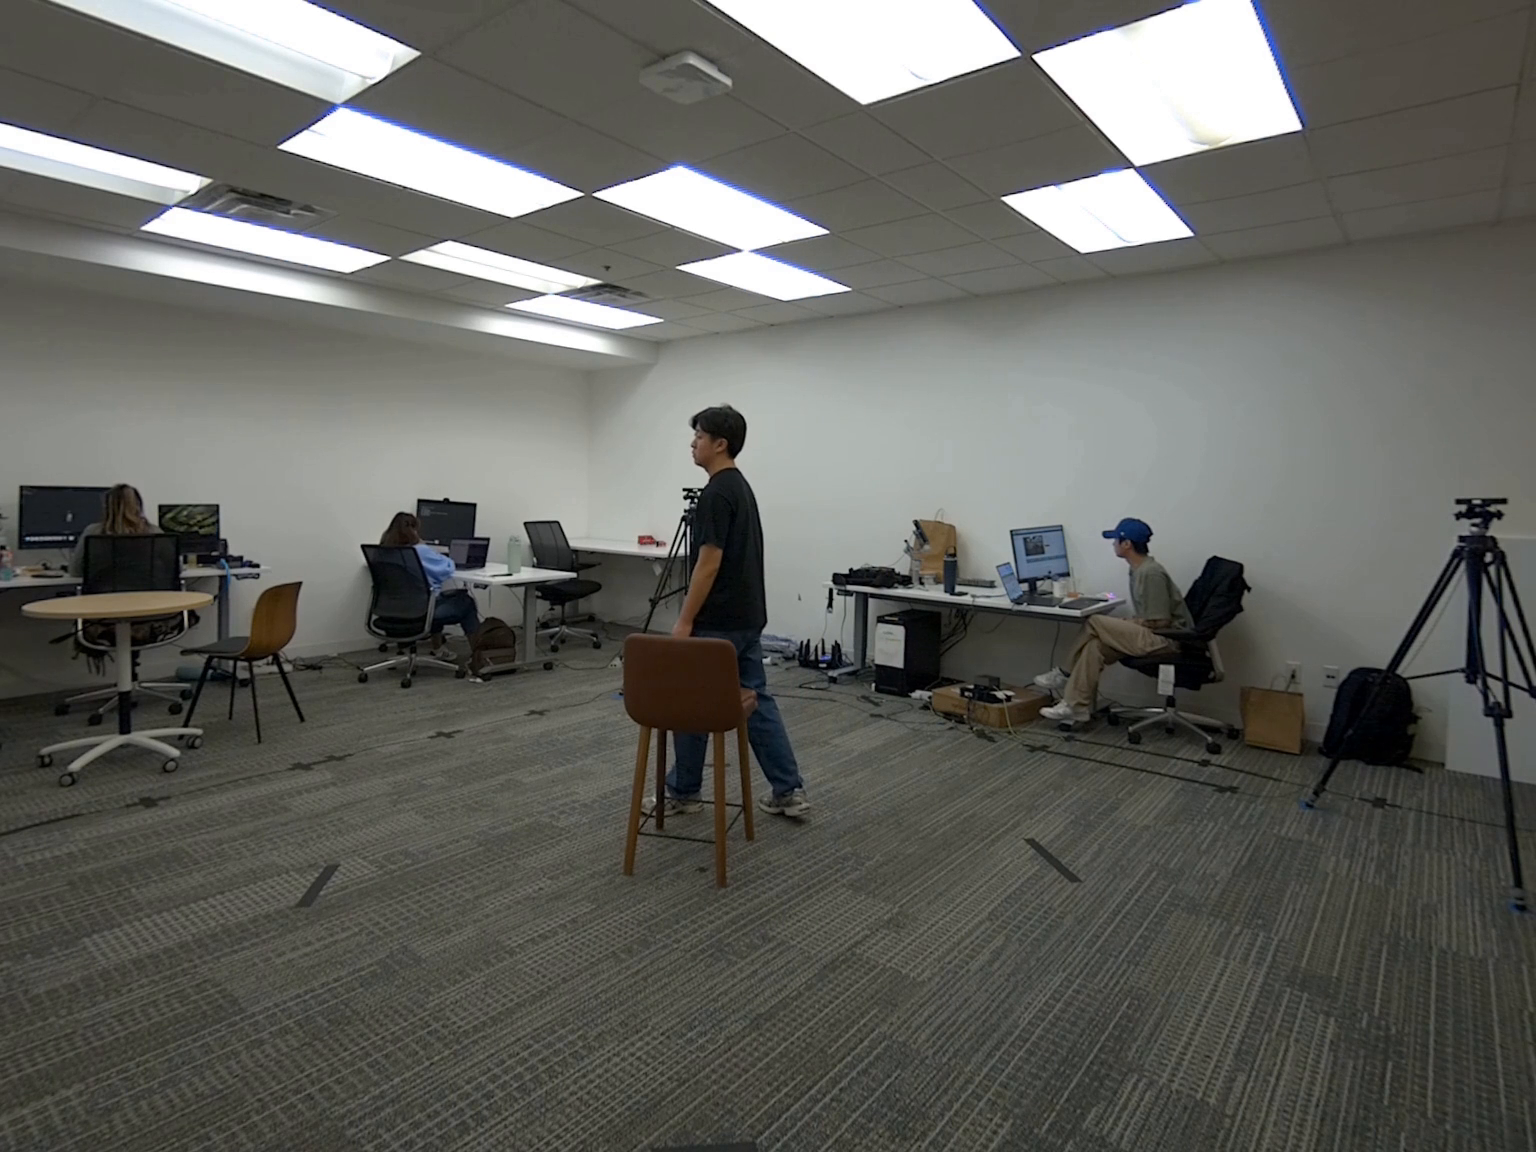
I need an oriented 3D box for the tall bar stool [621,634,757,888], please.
[{"bbox_3d":[-0.301,0.622,3.197,0.464,0.886,0.462,1,4,14],"label":"tall bar stool"}]
